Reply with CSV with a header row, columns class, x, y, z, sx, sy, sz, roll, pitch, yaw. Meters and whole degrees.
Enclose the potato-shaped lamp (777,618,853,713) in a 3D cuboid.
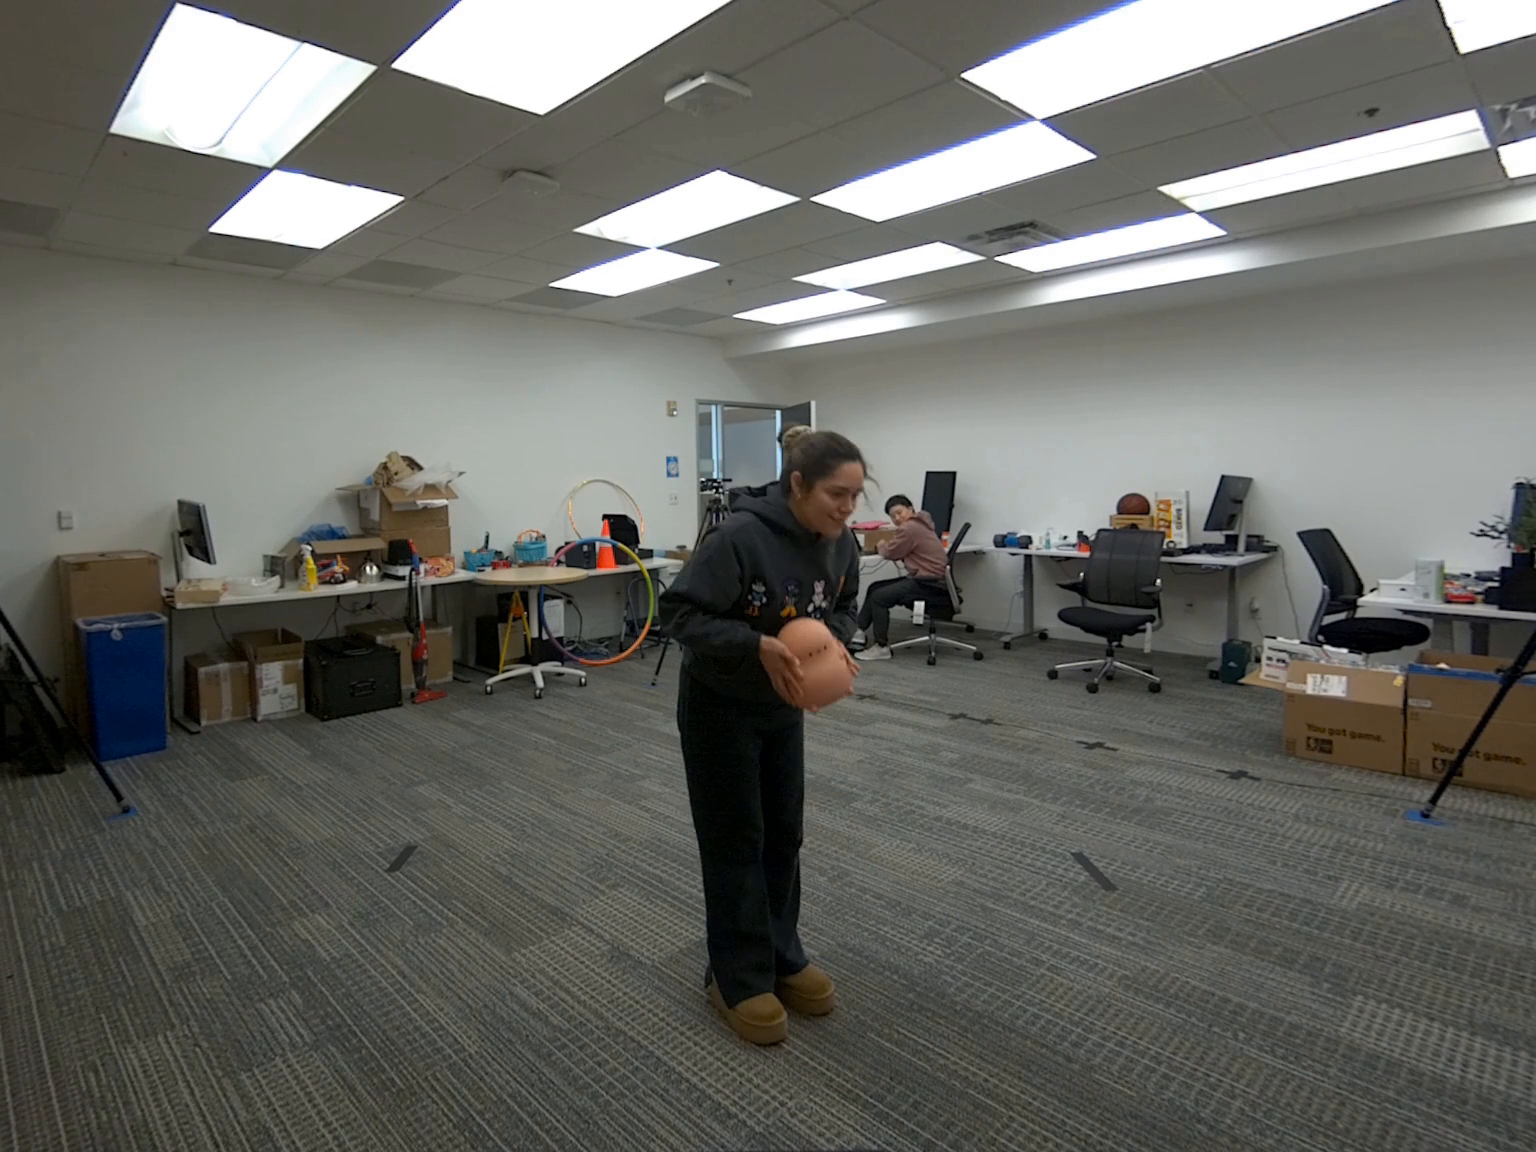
class,x,y,z,sx,sy,sz,roll,pitch,yaw
potato-shaped lamp,0.099,0.211,2.000,0.163,0.194,0.177,-21,21,-19
